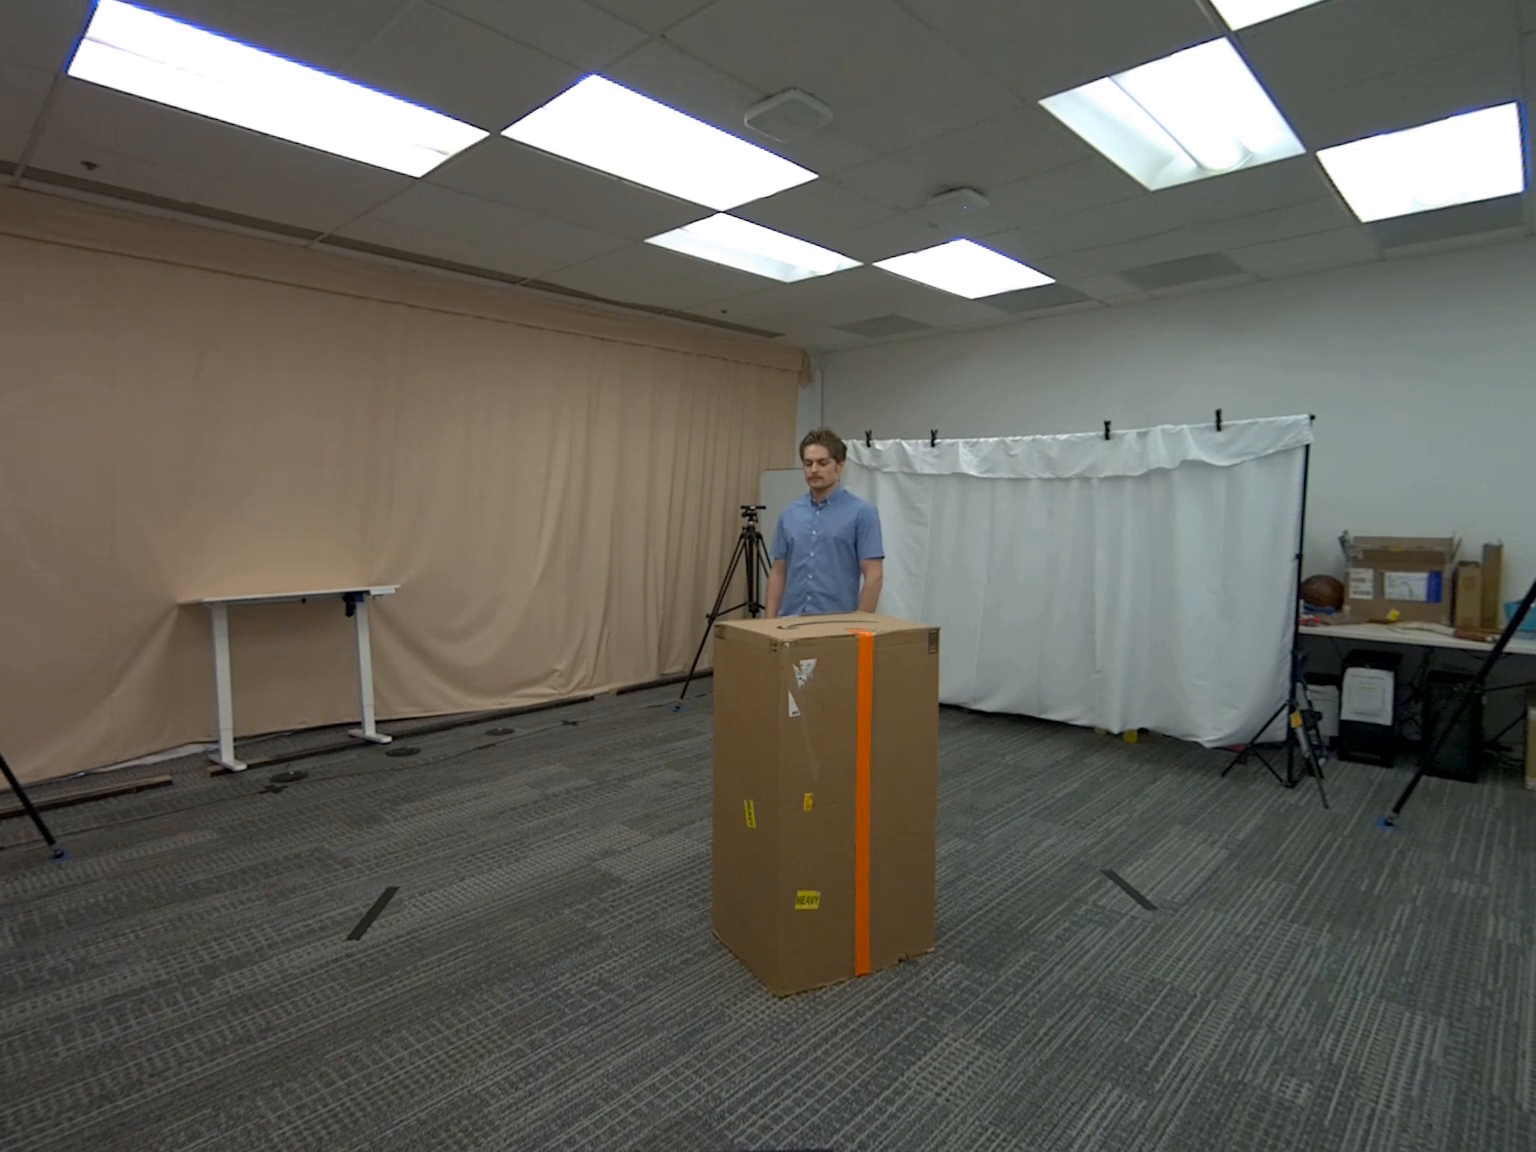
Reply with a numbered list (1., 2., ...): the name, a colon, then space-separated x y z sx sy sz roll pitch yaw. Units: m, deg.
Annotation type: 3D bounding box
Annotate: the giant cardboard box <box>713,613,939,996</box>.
1. giant cardboard box: 0.174 0.660 2.664 0.563 1.024 0.438 -2 3 -28
